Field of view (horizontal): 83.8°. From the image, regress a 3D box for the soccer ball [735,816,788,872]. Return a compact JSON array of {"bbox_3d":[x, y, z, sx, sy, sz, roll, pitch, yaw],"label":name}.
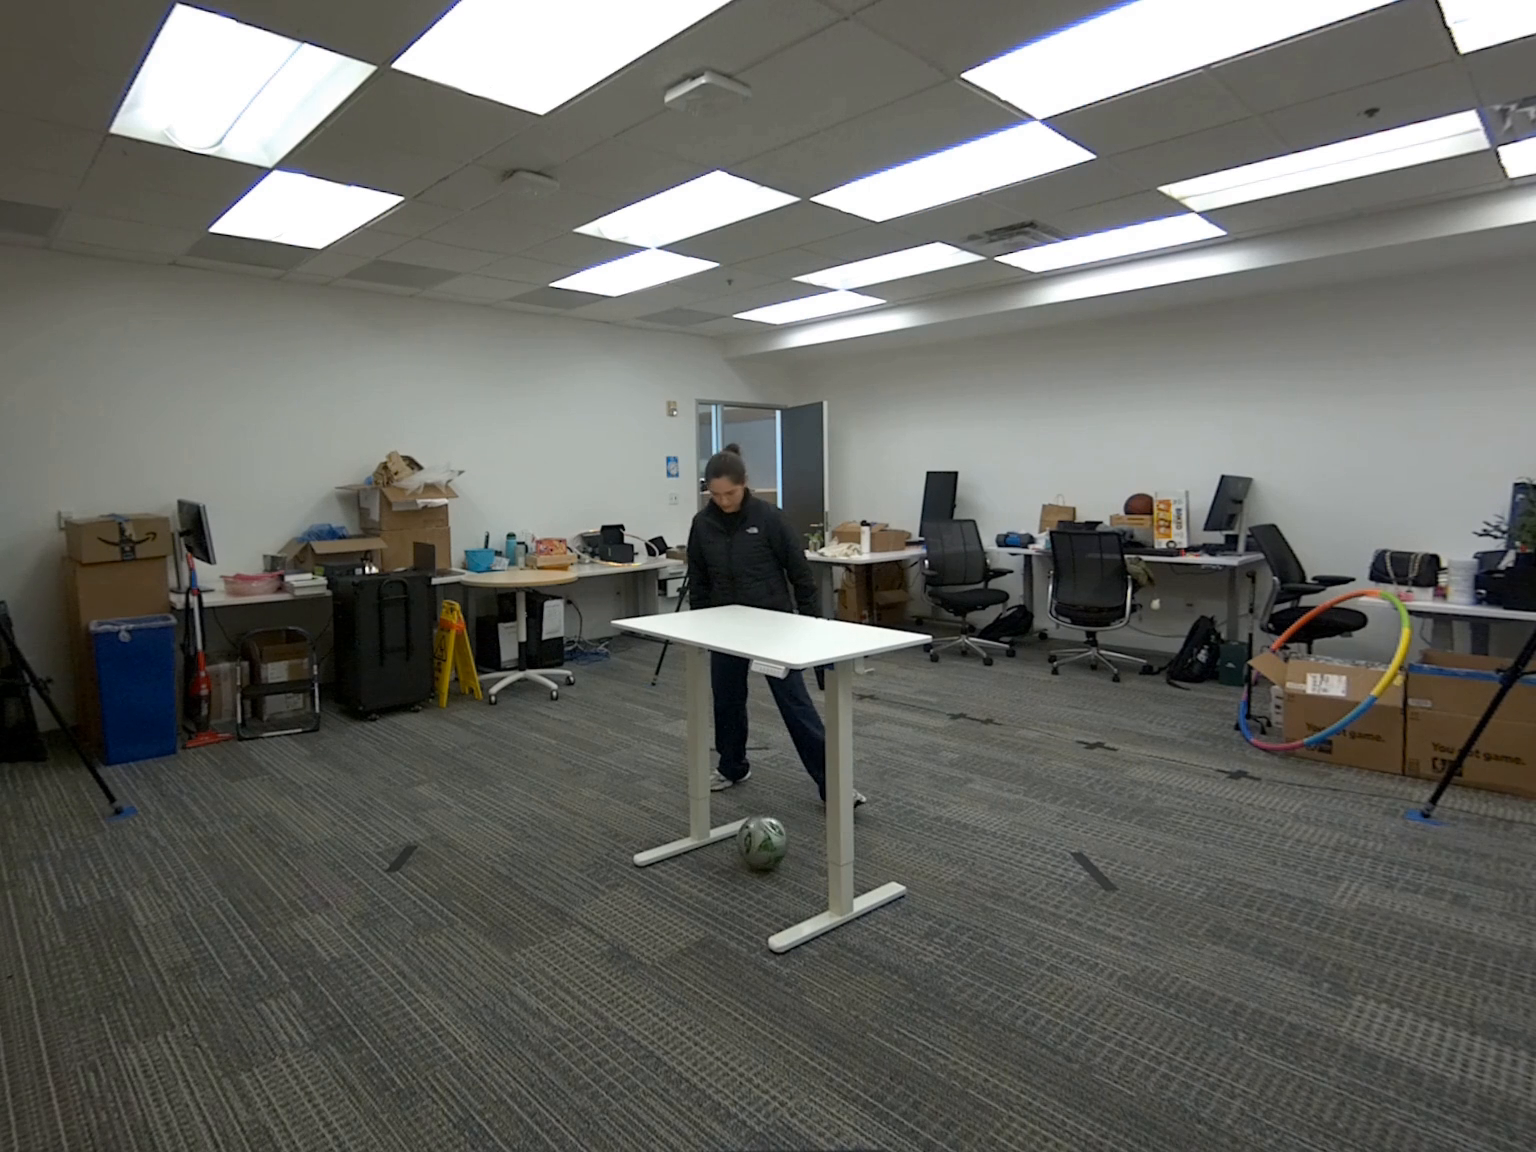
[{"bbox_3d":[-0.016,0.958,3.065,0.187,0.187,0.188,-1,5,-2],"label":"soccer ball"}]
